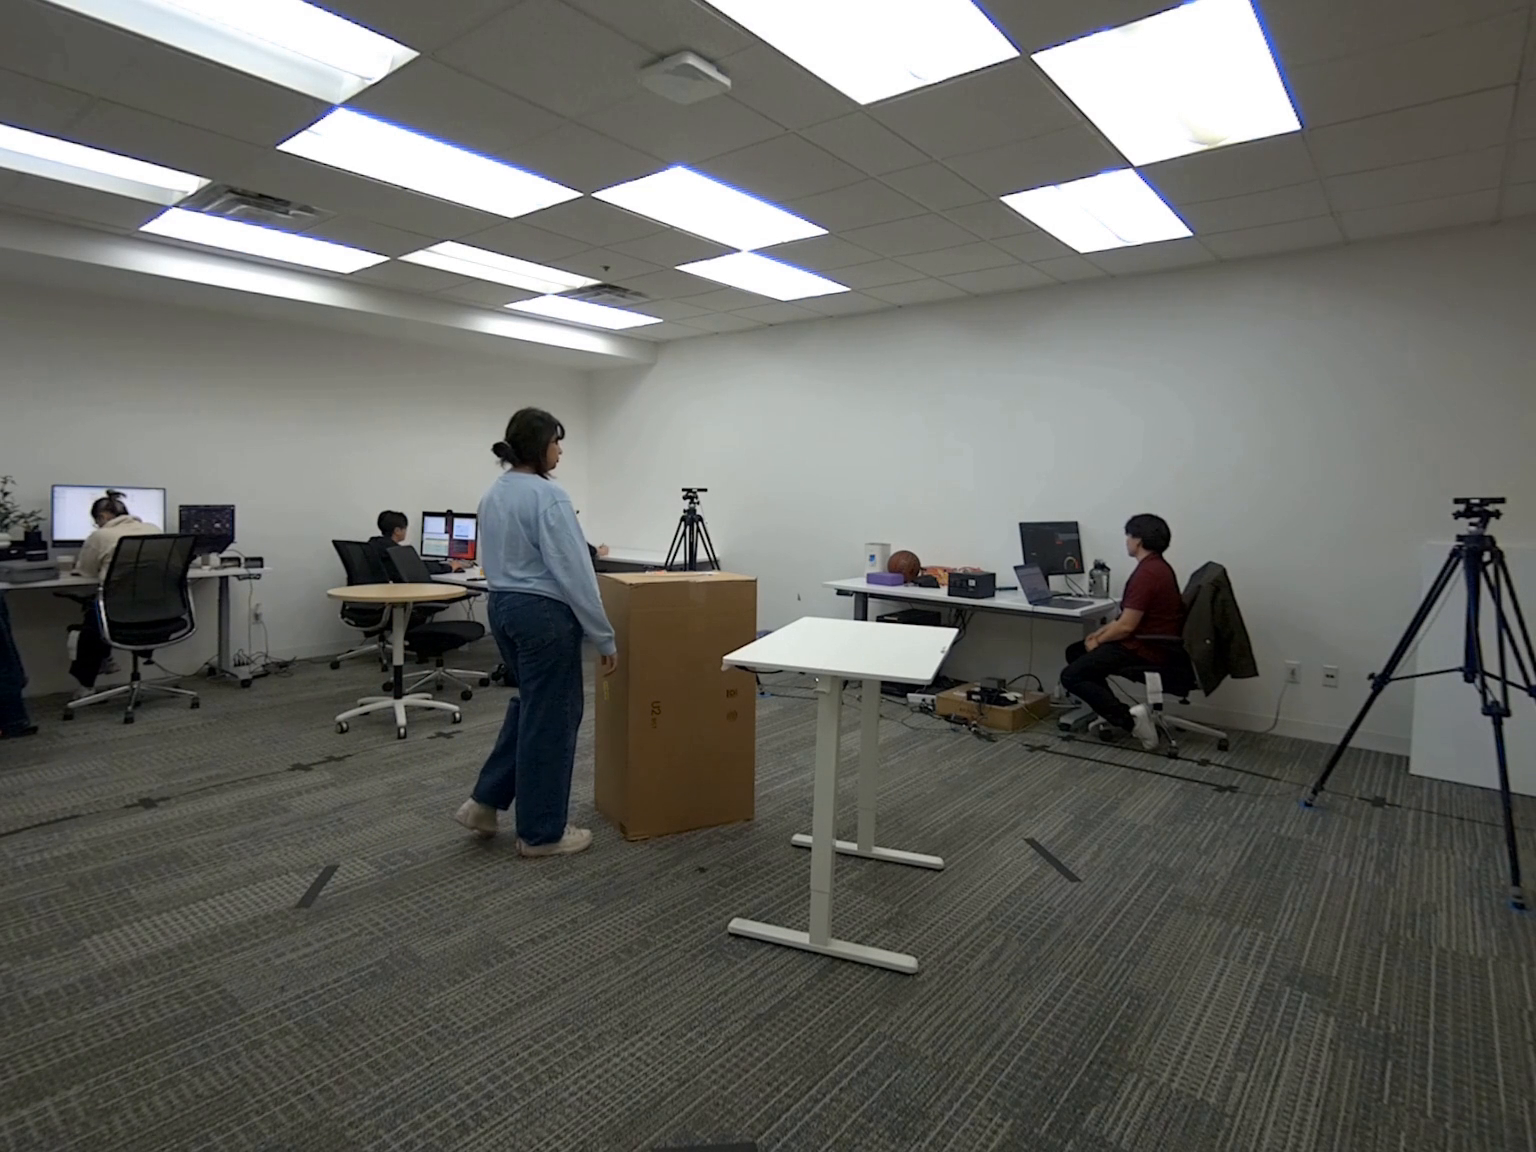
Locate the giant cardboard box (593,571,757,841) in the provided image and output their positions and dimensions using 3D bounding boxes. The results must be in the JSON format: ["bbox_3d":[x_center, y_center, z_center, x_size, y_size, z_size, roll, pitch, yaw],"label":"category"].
[{"bbox_3d":[-0.409,0.507,3.637,0.563,1.023,0.438,-1,3,-28],"label":"giant cardboard box"}]
